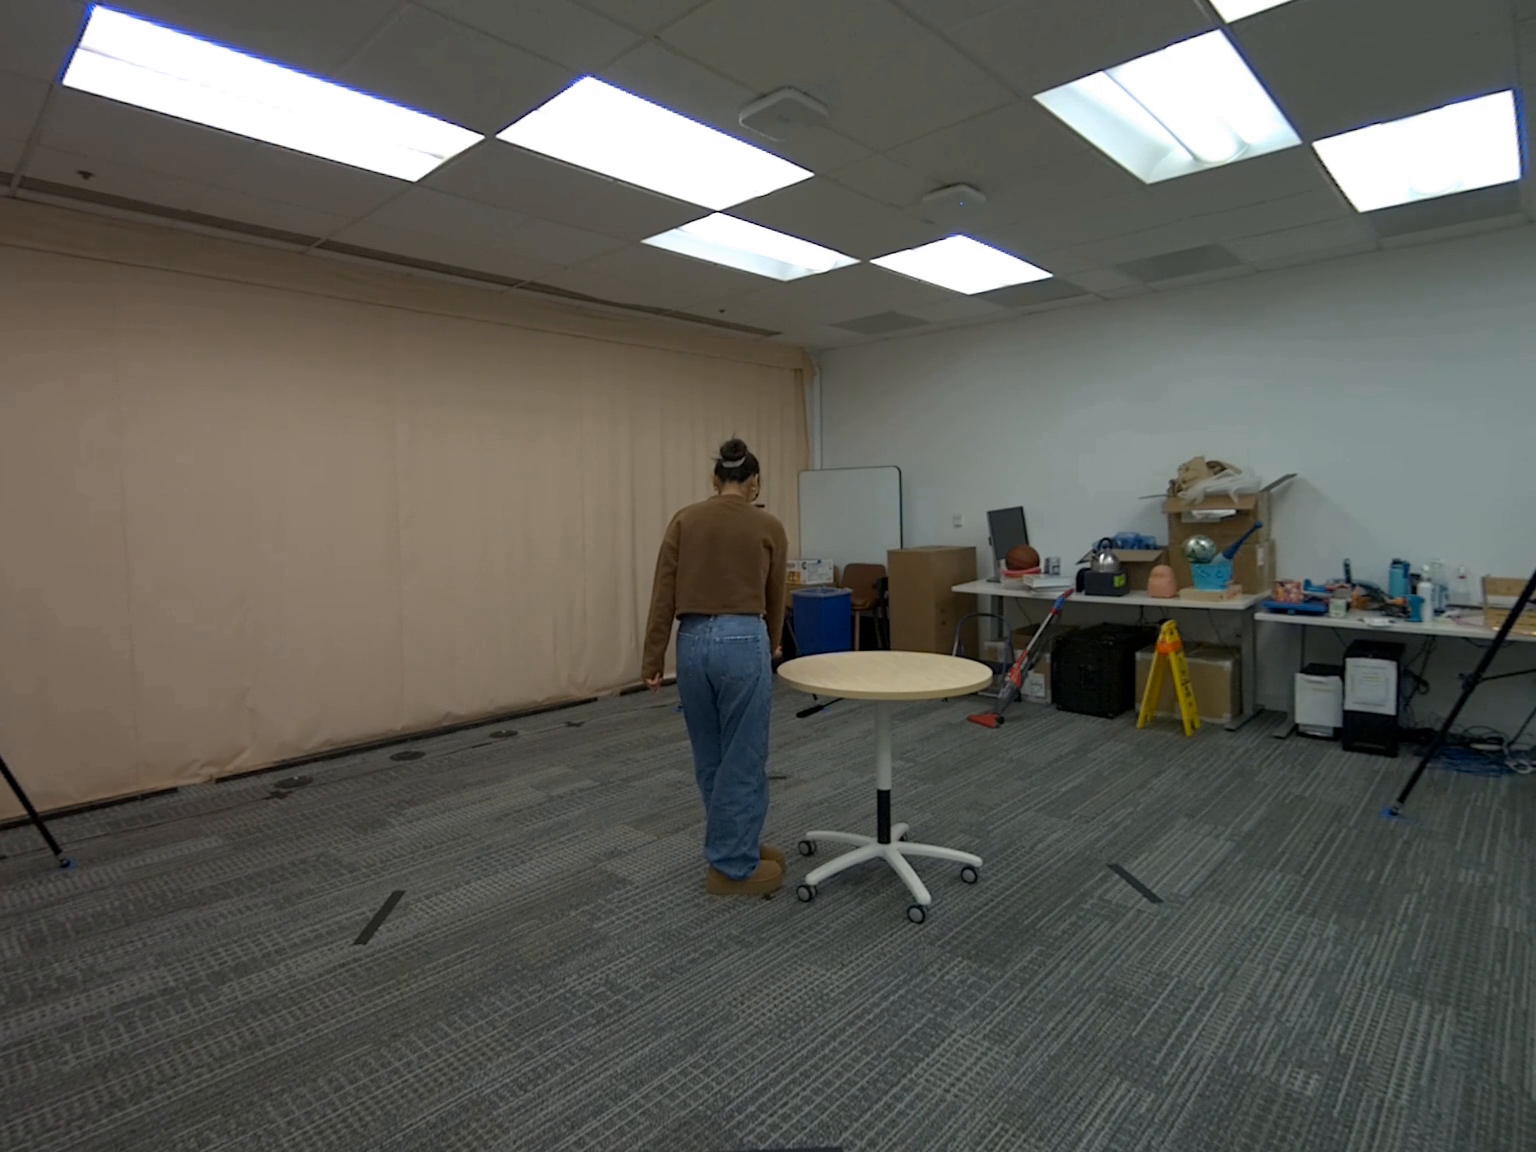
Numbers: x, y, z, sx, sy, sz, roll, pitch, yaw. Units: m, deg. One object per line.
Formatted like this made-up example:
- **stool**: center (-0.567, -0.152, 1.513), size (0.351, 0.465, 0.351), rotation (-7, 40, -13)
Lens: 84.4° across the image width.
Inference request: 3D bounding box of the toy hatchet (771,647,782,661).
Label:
- **toy hatchet**: center (-0.028, 0.312, 3.444), size (0.133, 0.029, 0.266), rotation (-4, 3, 13)
